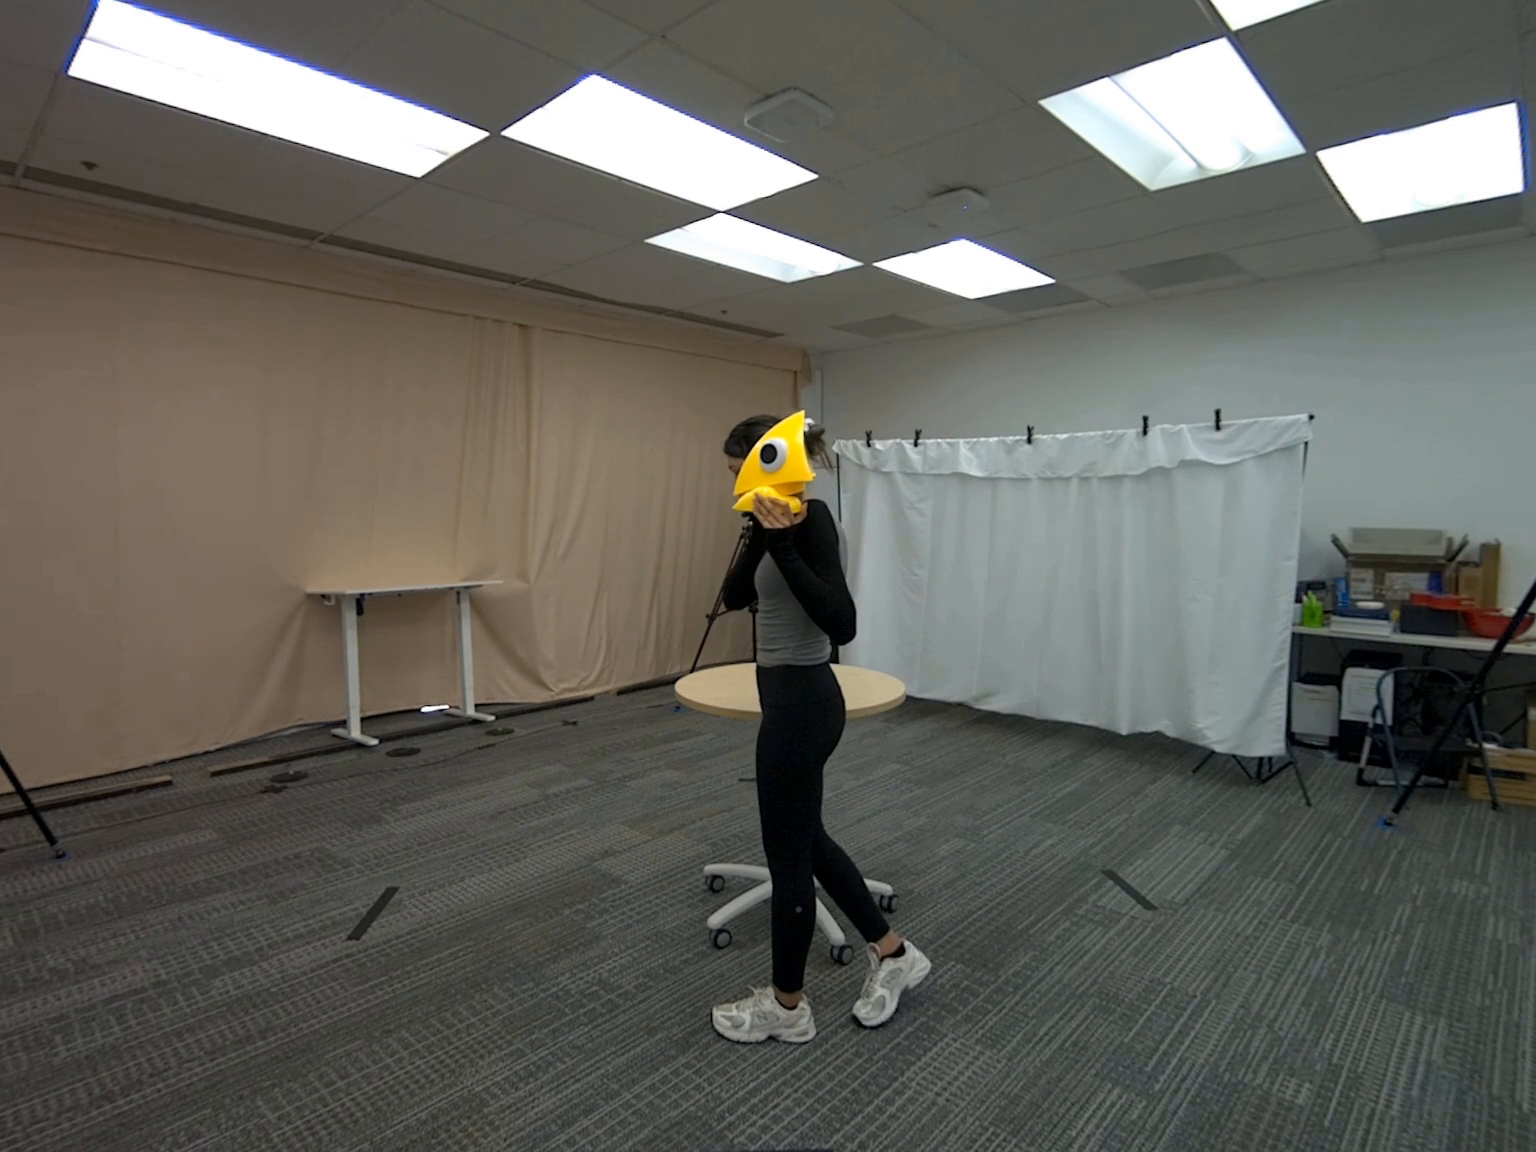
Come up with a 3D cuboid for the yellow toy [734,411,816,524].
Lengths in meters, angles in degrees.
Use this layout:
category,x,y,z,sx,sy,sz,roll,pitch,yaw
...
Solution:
category,x,y,z,sx,sy,sz,roll,pitch,yaw
yellow toy,0.020,-0.275,1.983,0.194,0.229,0.205,4,11,4
